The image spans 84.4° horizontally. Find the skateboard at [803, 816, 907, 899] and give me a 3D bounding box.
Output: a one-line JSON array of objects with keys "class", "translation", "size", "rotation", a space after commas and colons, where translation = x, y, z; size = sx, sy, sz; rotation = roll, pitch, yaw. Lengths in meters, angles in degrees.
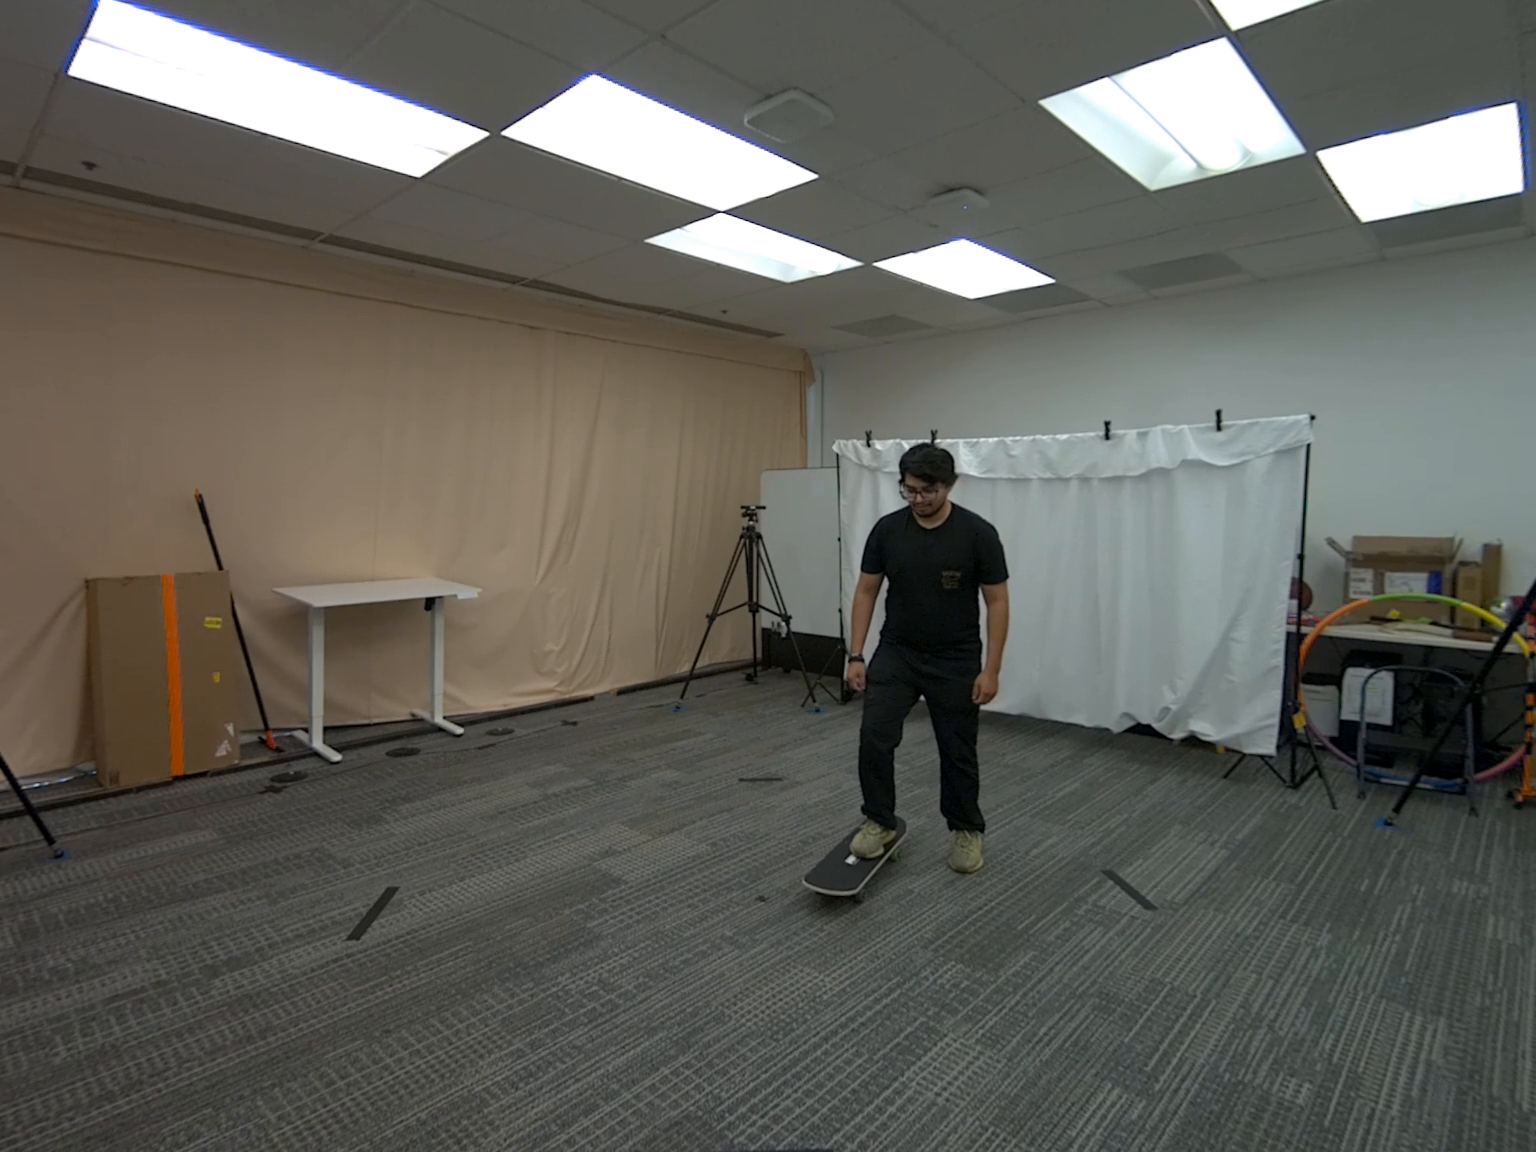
[{"class": "skateboard", "translation": [0.350, 1.075, 3.162], "size": [0.199, 0.110, 0.766], "rotation": [4, 6, 26]}]
